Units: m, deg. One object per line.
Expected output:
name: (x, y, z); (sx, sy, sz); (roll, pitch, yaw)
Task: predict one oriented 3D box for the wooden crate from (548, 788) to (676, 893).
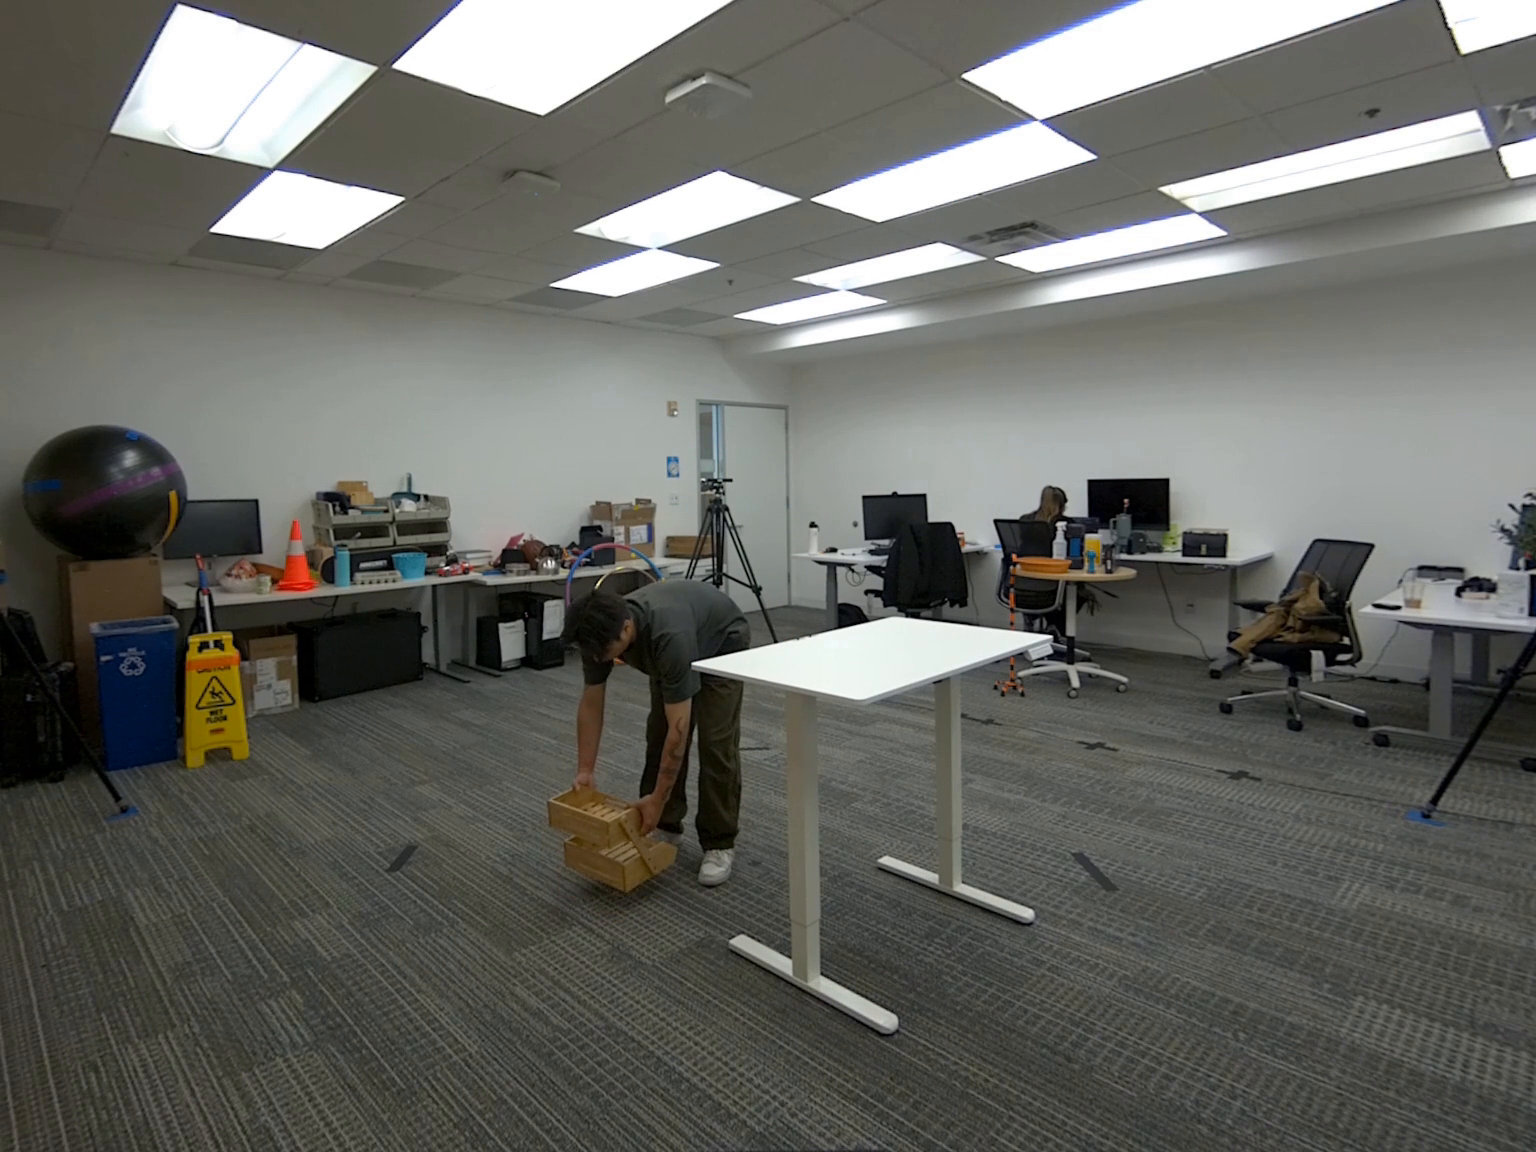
wooden crate: (-0.527, 0.862, 2.900); (0.334, 0.271, 0.295); (3, 11, 38)
